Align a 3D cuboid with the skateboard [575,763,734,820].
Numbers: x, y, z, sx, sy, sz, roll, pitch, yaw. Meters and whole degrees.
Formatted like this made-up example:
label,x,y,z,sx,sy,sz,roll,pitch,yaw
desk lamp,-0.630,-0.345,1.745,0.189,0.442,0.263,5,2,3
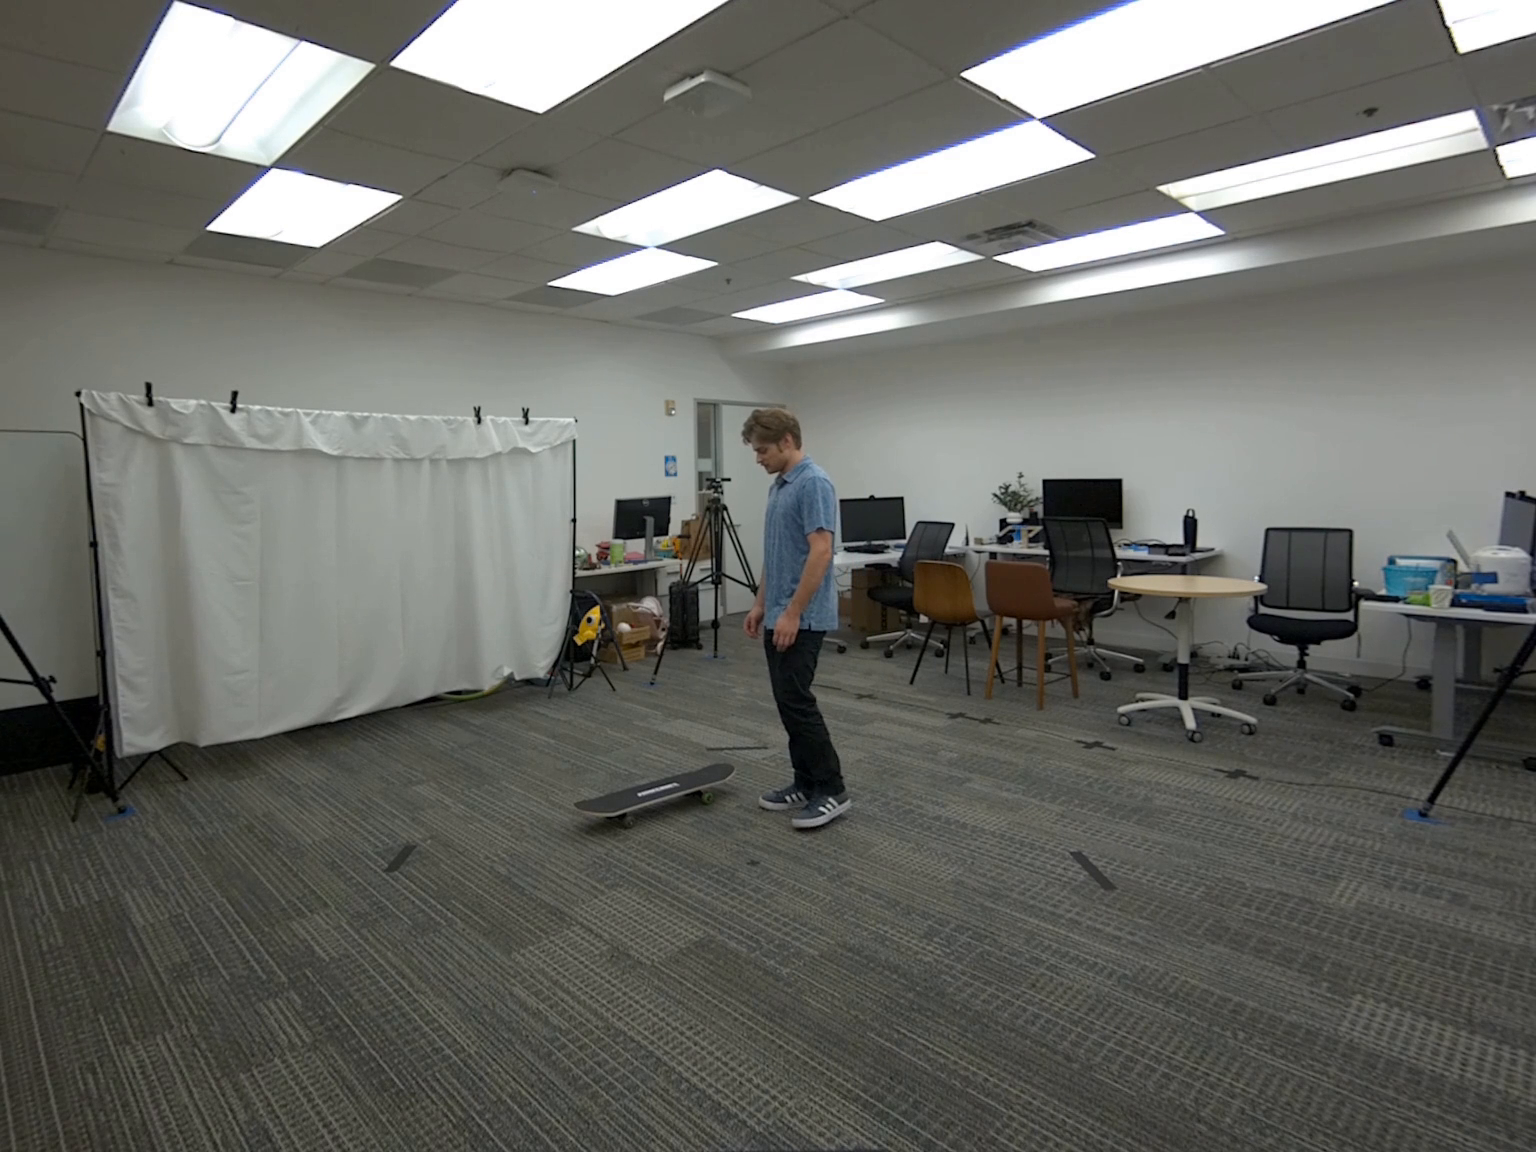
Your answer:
label,x,y,z,sx,sy,sz,roll,pitch,yaw
skateboard,-0.460,0.935,3.618,0.765,0.110,0.199,-6,7,-39
